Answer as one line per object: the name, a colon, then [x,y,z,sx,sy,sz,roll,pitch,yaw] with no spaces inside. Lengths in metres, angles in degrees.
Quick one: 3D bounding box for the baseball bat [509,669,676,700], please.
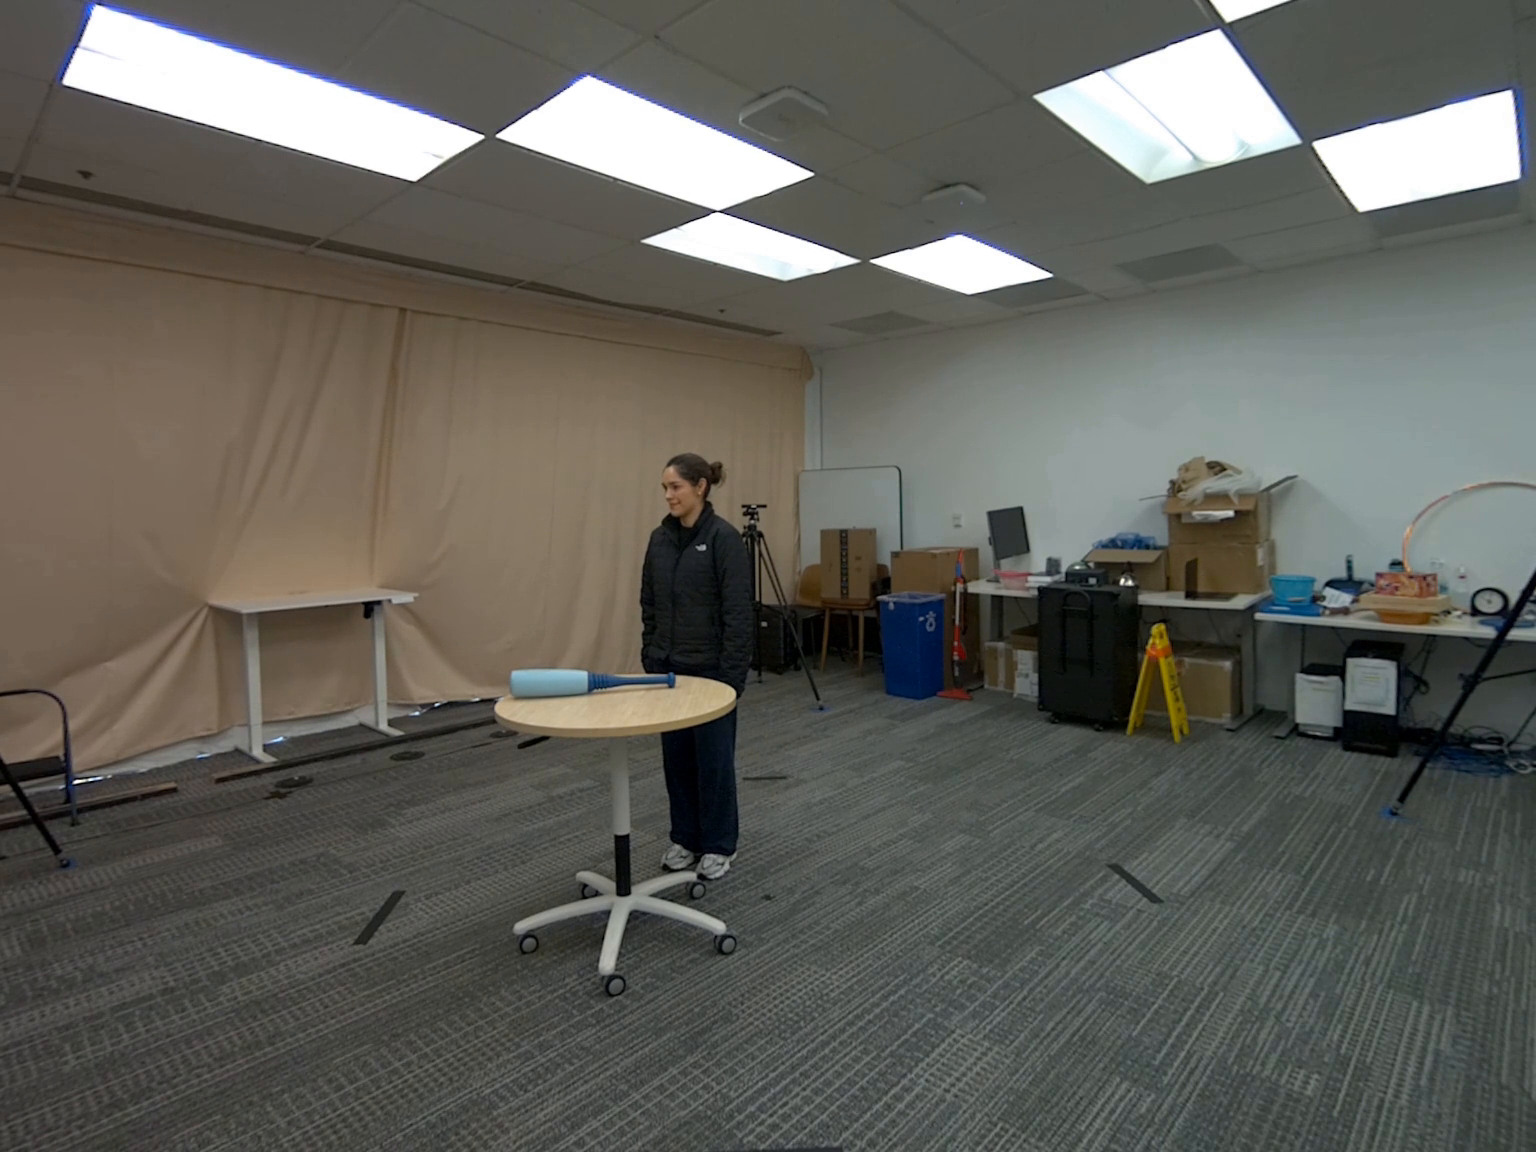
baseball bat: [-0.581,0.362,2.749,0.536,0.089,0.090,1,3,-12]
